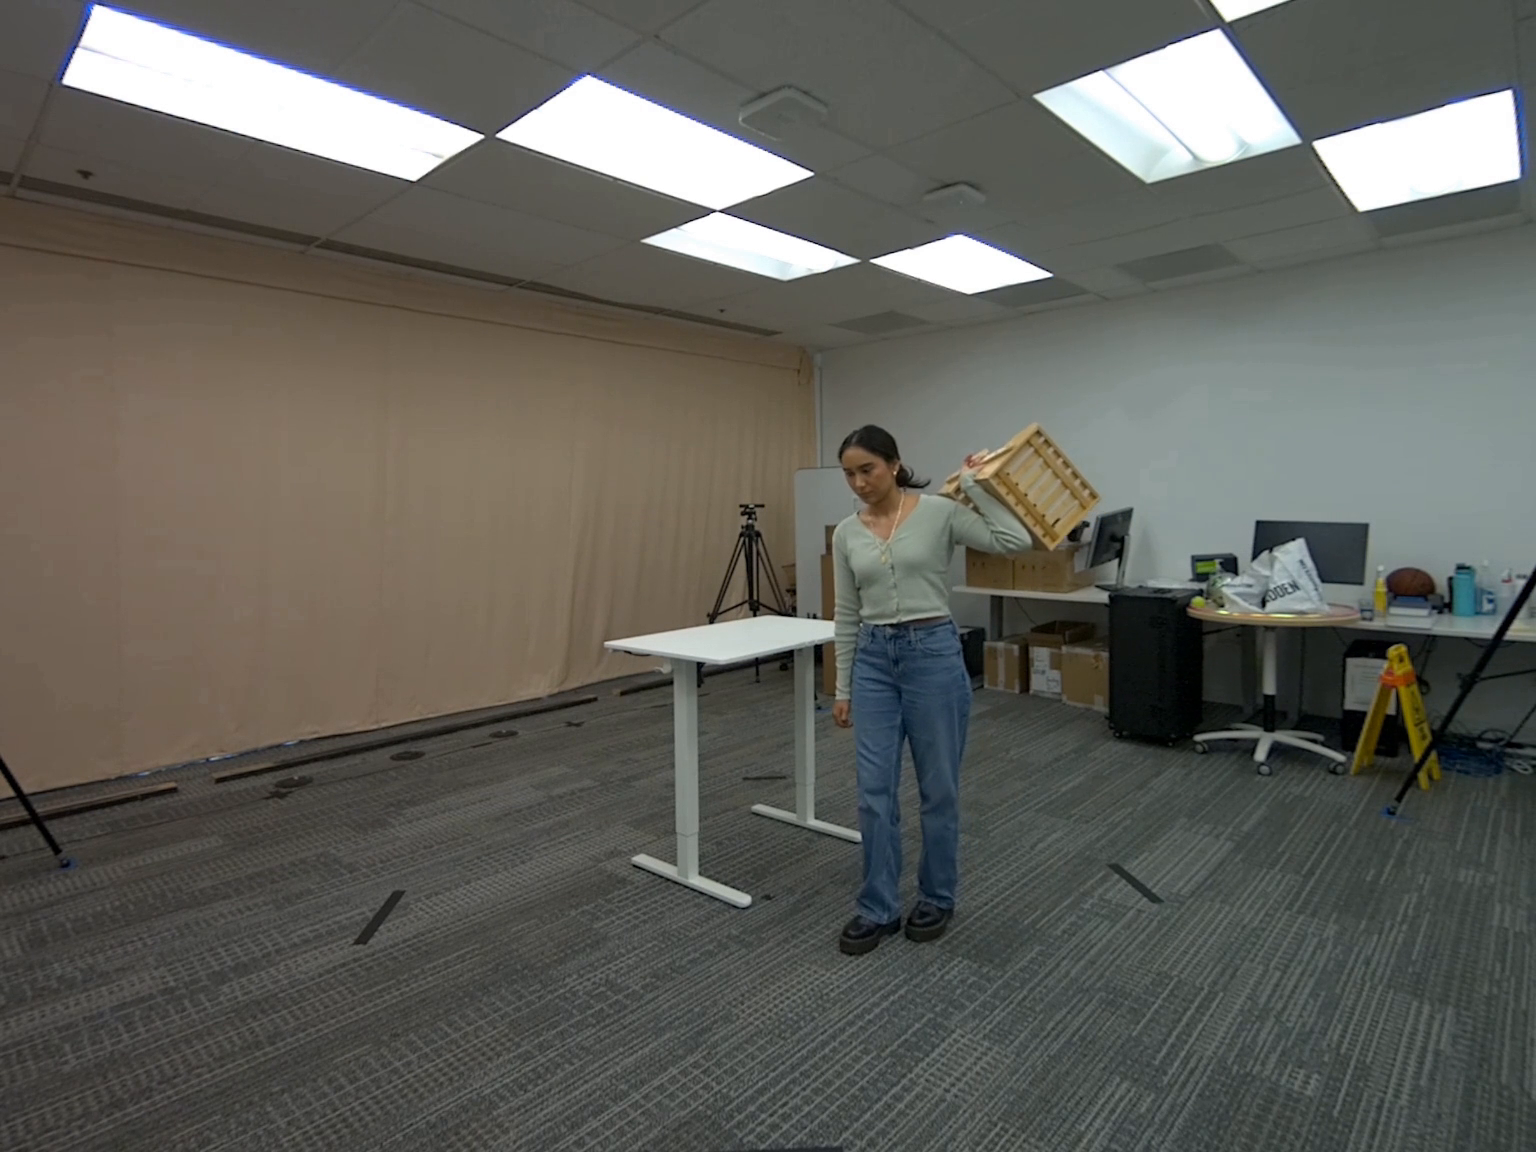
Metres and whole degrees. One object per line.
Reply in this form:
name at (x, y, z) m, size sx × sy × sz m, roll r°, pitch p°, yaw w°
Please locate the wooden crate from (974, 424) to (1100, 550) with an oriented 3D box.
wooden crate at (0.794, -0.258, 2.618) m, size 0.301 × 0.321 × 0.277 m, roll -44°, pitch 8°, yaw -9°
